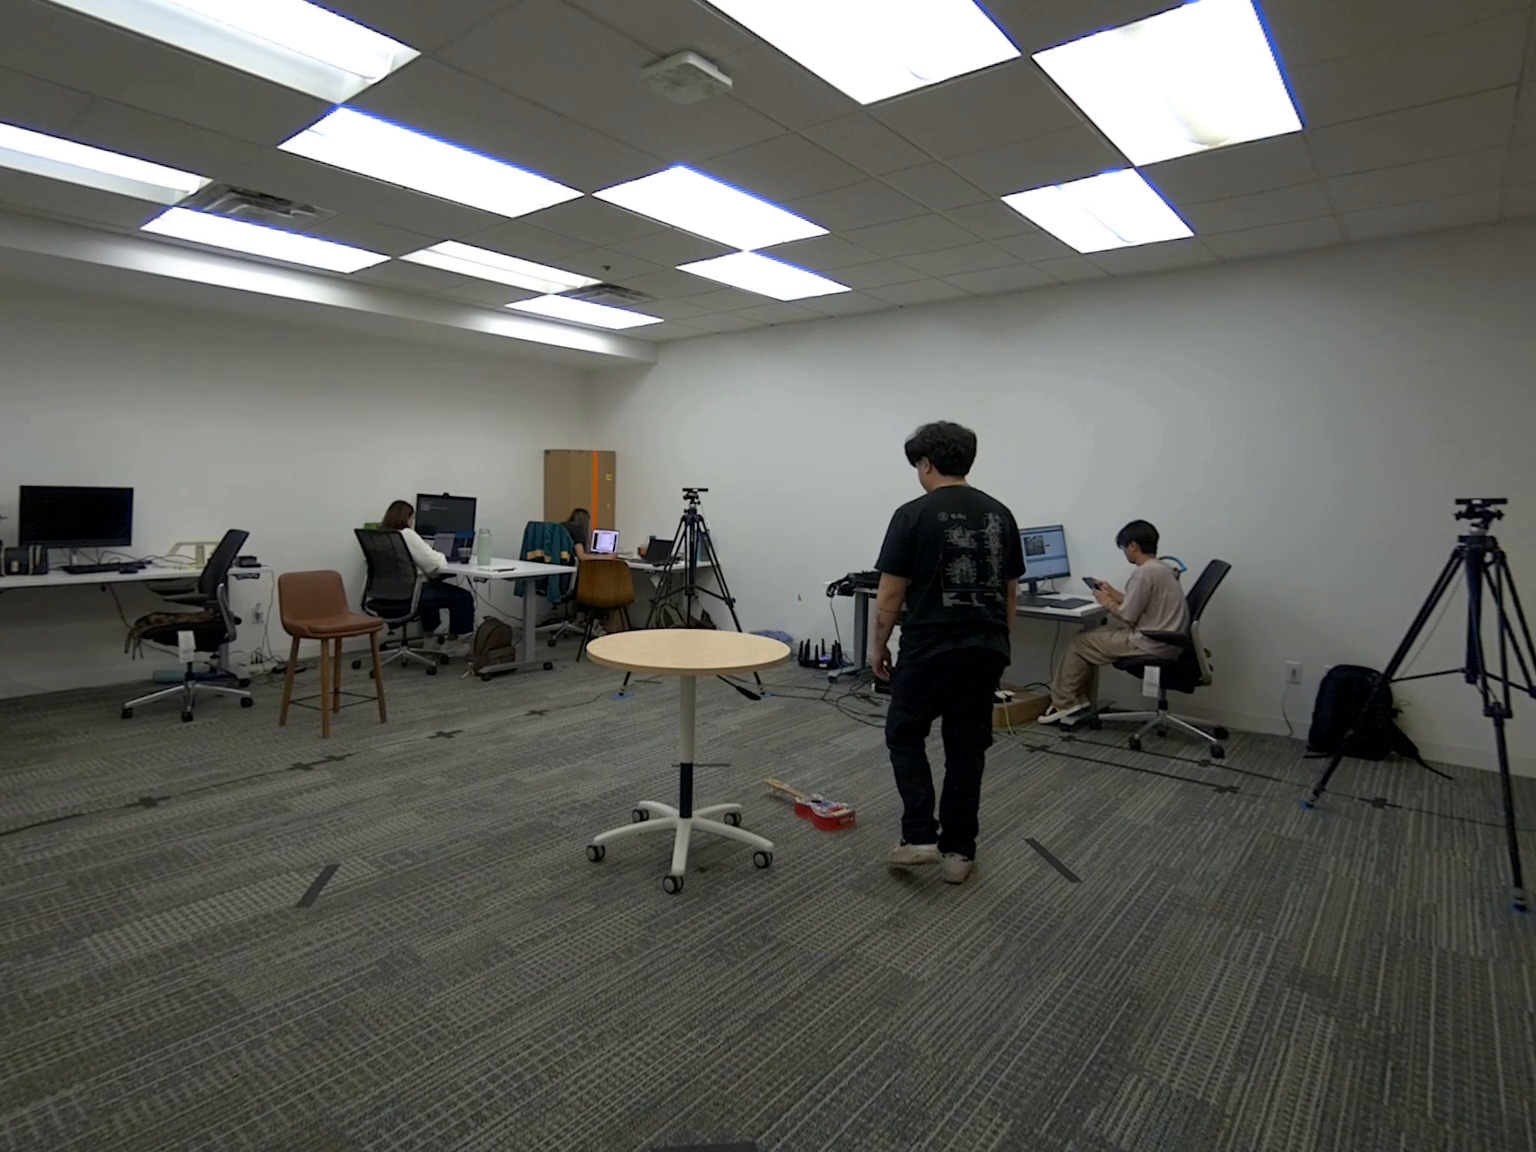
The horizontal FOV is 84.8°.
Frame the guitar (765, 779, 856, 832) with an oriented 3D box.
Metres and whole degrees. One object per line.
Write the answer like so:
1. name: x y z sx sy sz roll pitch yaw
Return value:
1. guitar: 0.176 0.985 3.730 0.188 0.070 0.513 -3 7 -30
